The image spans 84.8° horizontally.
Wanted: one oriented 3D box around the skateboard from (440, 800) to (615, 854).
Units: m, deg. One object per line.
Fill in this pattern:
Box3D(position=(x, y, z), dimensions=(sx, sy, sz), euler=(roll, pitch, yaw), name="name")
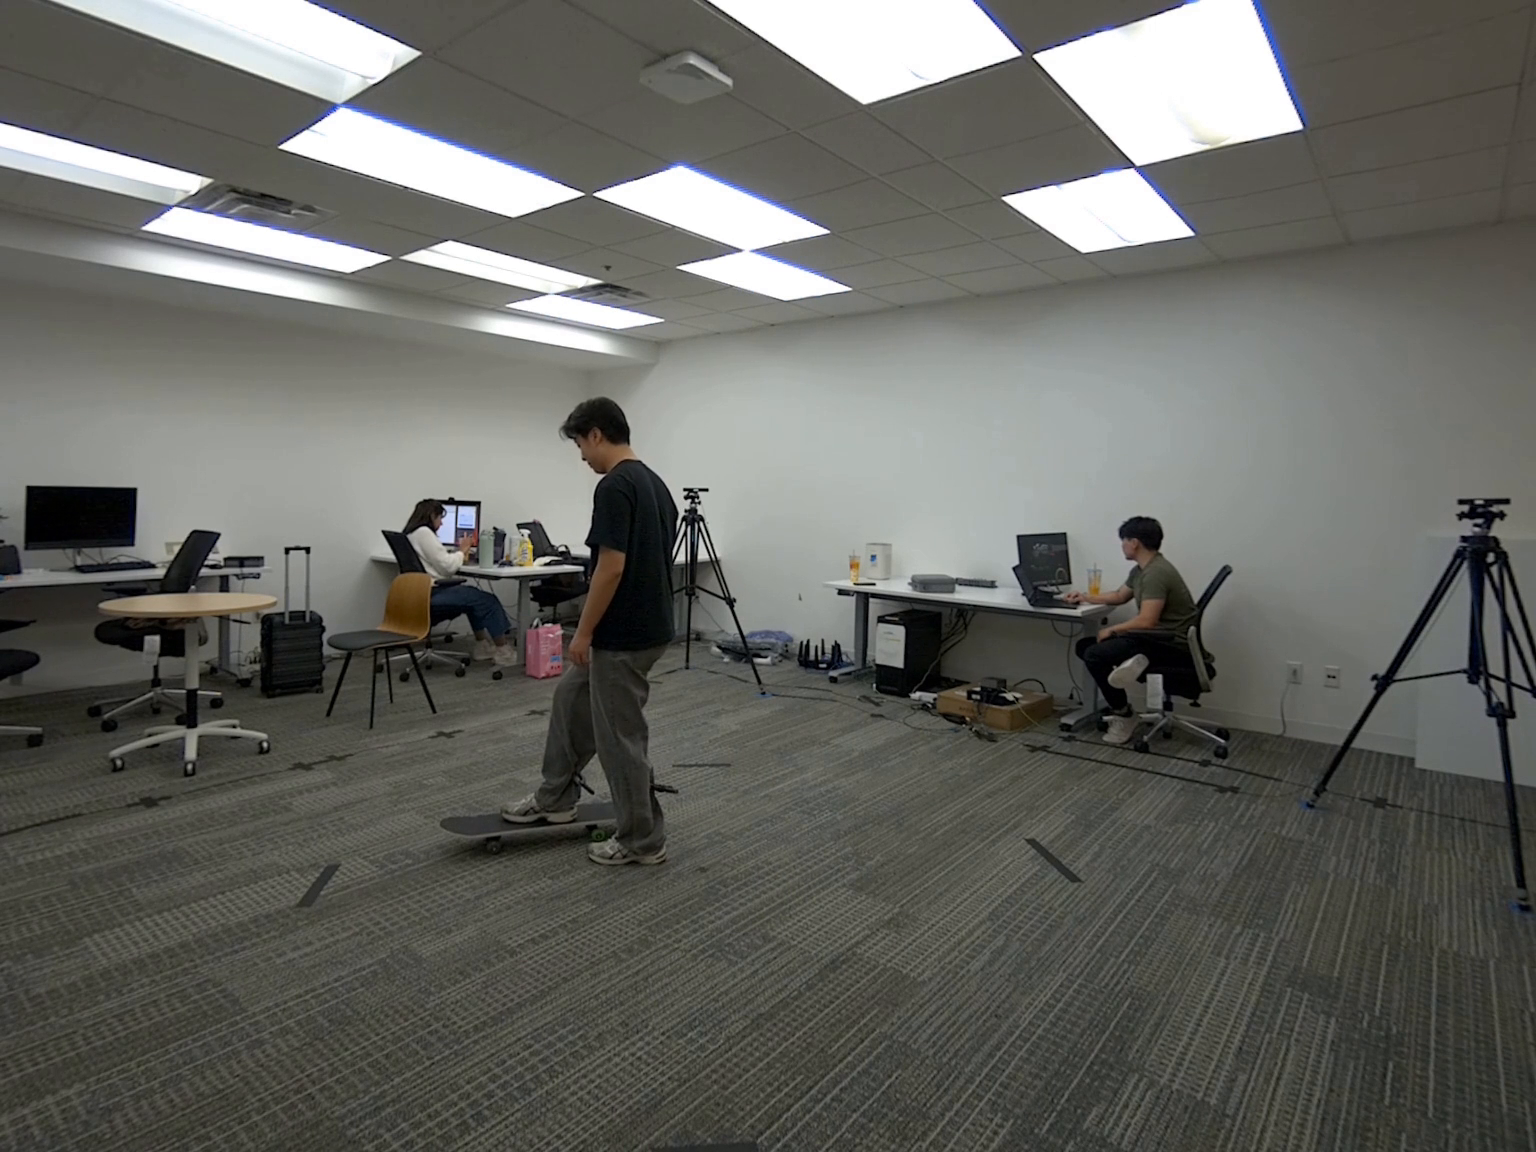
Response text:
Box3D(position=(-0.894, 0.978, 3.343), dimensions=(0.770, 0.110, 0.198), euler=(-1, 6, -19), name="skateboard")
